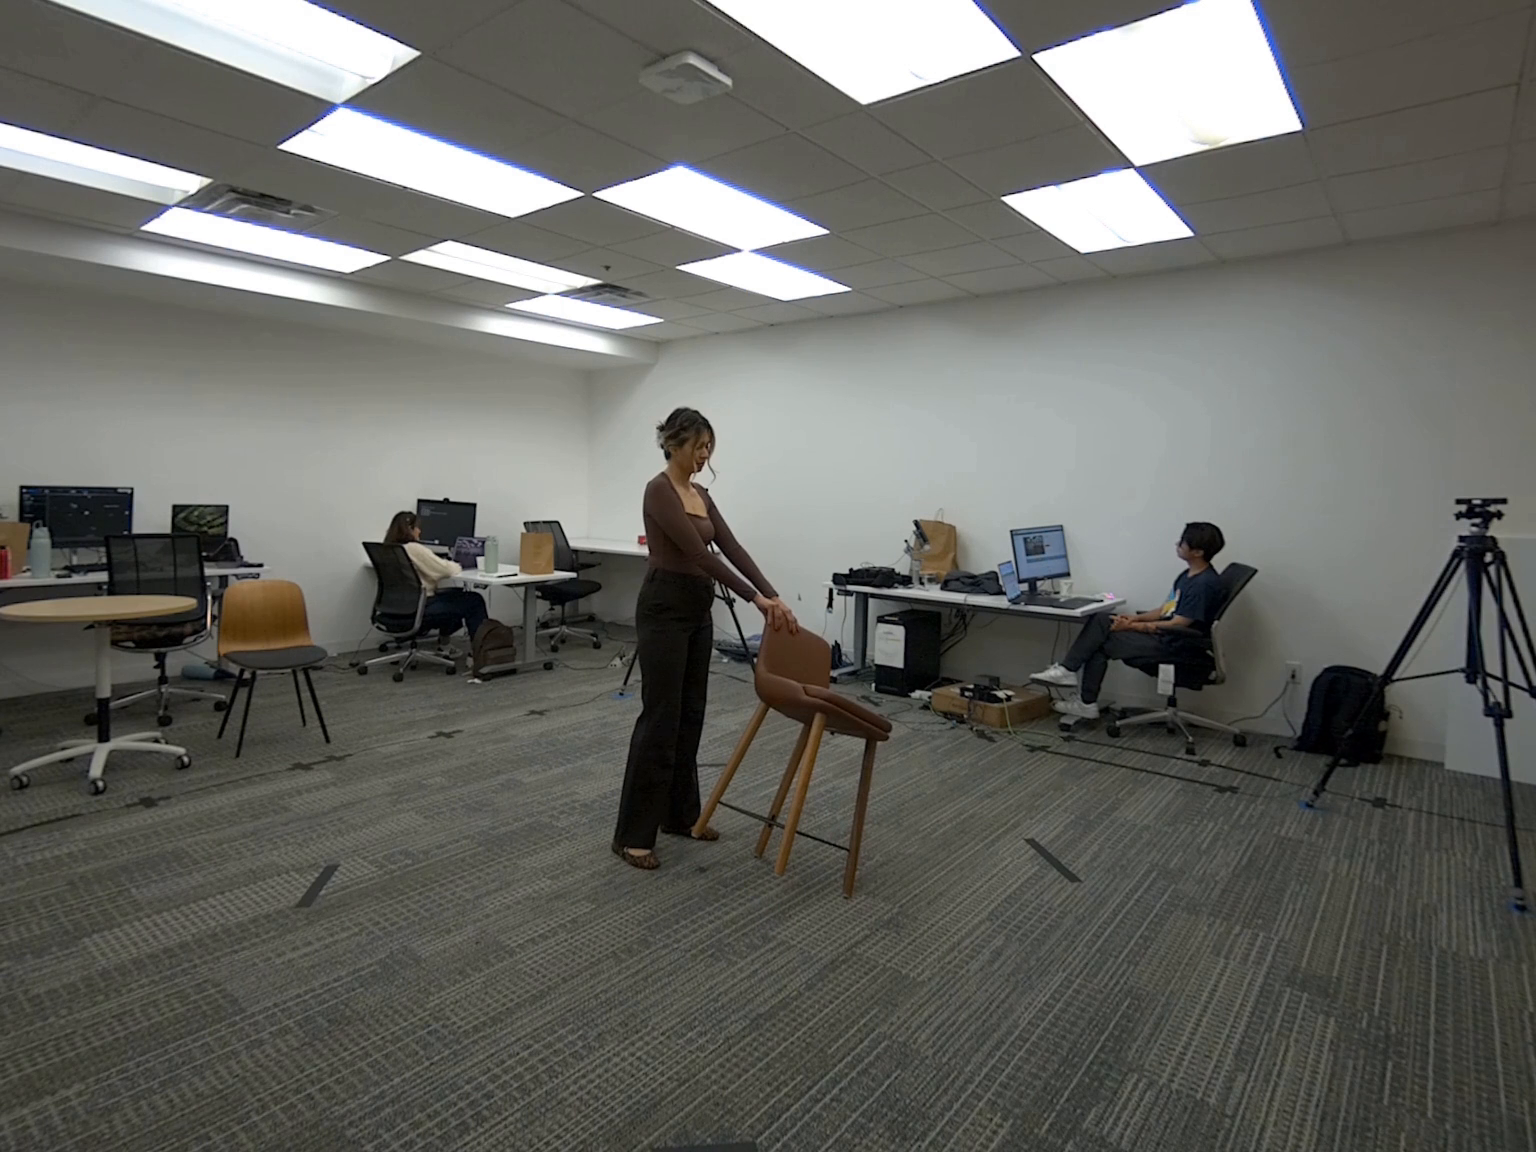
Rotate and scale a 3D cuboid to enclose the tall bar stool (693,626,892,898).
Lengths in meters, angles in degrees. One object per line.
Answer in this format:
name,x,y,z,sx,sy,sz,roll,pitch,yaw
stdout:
tall bar stool,0.131,0.606,3.084,0.482,0.898,0.438,0,-24,45
